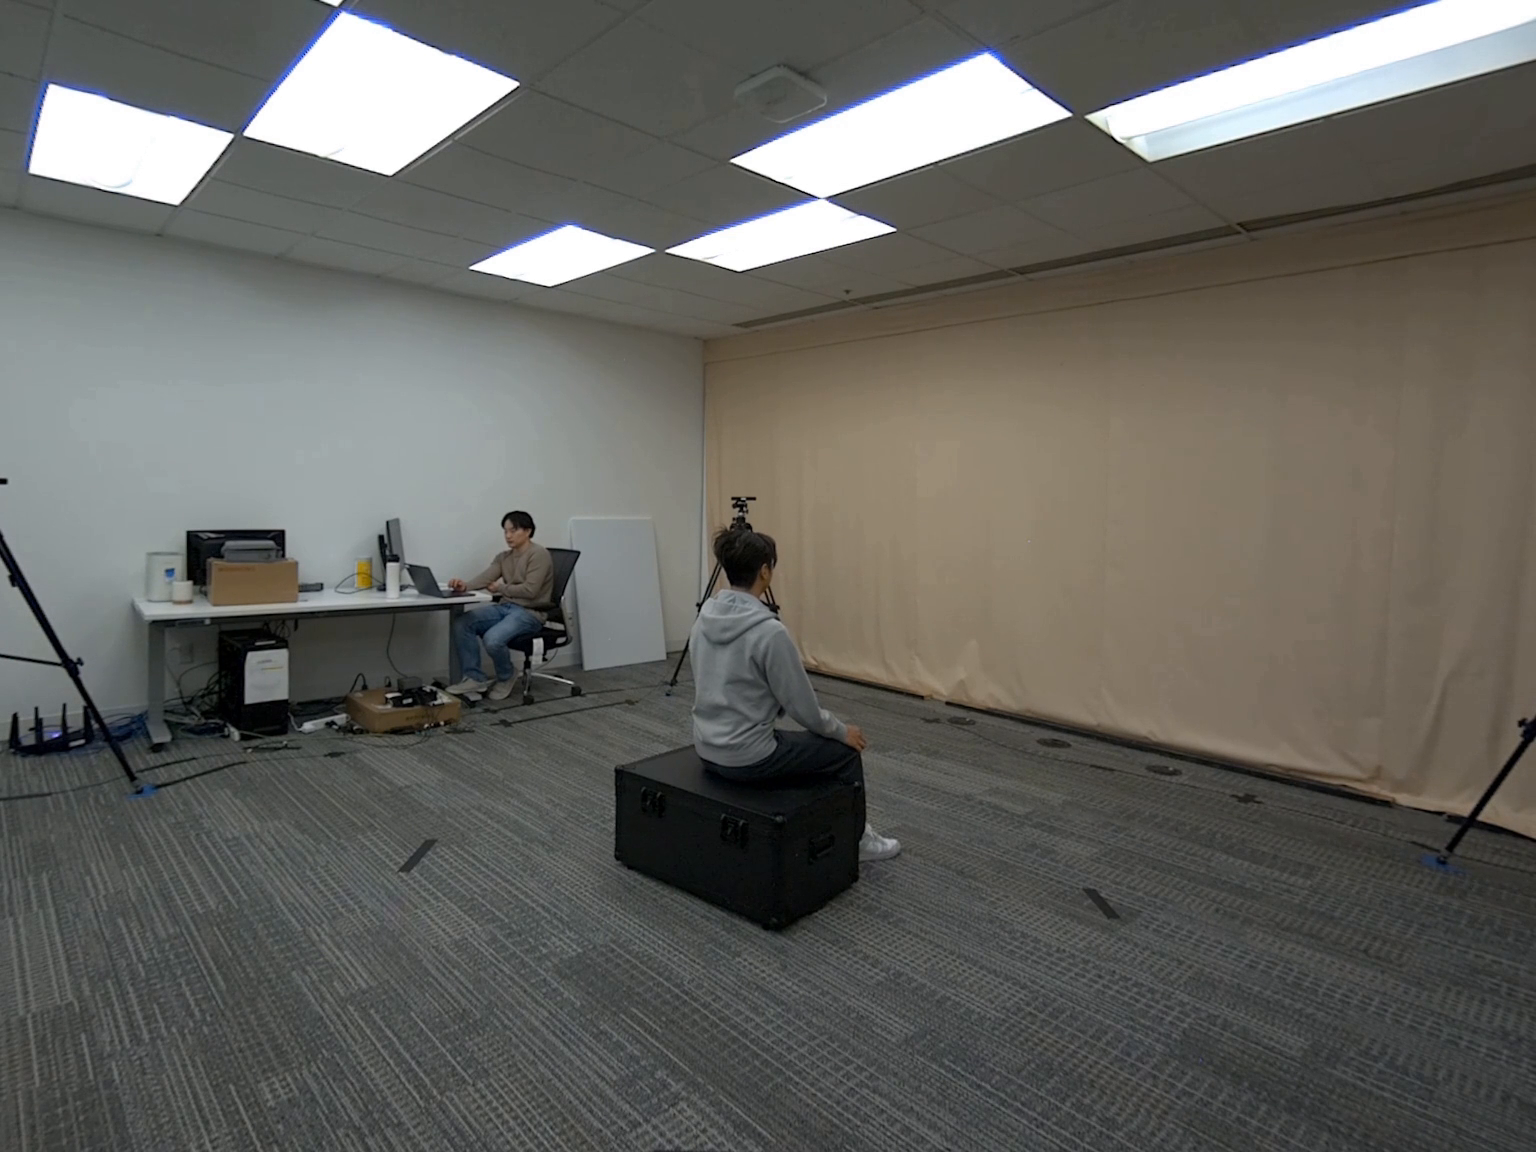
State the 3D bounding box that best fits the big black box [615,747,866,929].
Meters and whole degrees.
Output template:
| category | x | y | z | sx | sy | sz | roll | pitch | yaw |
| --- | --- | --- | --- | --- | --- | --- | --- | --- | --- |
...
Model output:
| category | x | y | z | sx | sy | sz | roll | pitch | yaw |
| --- | --- | --- | --- | --- | --- | --- | --- | --- | --- |
| big black box | -0.112 | 0.928 | 3.070 | 0.883 | 0.395 | 0.510 | 5 | 6 | 40 |
